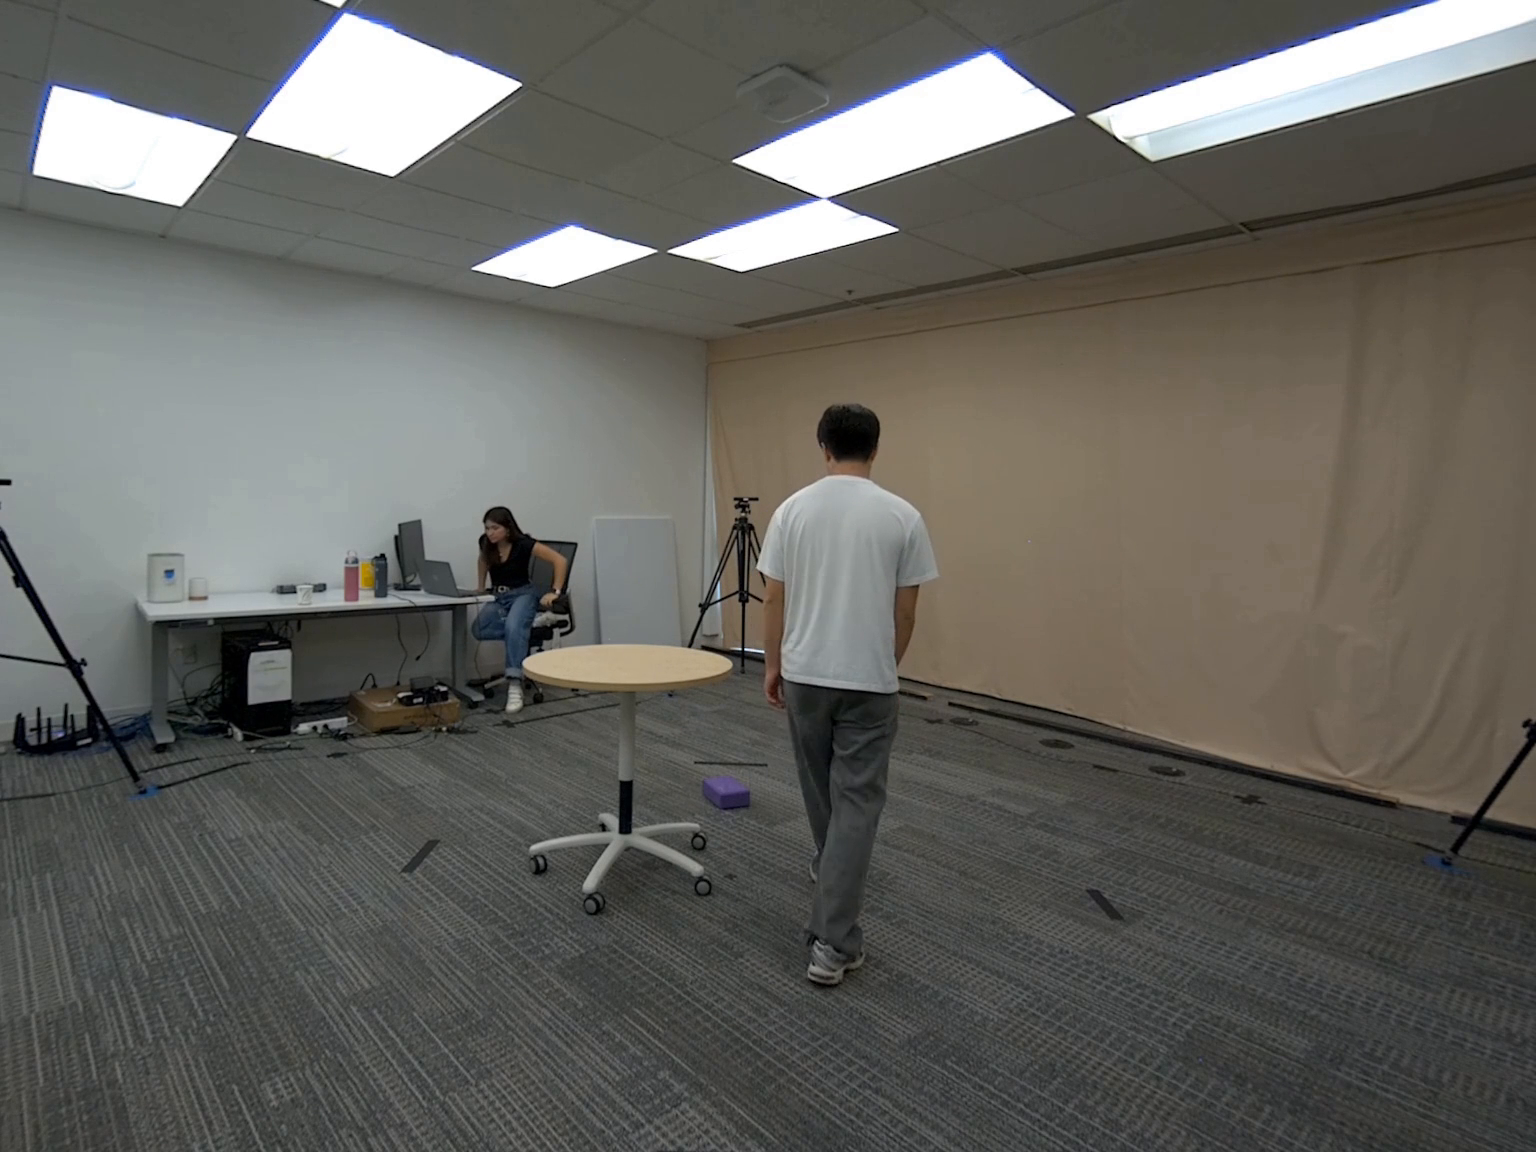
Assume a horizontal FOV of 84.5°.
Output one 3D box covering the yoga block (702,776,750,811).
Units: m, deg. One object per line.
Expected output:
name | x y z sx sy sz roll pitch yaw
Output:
yoga block | -0.206 1.003 3.892 0.146 0.076 0.234 -1 5 -25
